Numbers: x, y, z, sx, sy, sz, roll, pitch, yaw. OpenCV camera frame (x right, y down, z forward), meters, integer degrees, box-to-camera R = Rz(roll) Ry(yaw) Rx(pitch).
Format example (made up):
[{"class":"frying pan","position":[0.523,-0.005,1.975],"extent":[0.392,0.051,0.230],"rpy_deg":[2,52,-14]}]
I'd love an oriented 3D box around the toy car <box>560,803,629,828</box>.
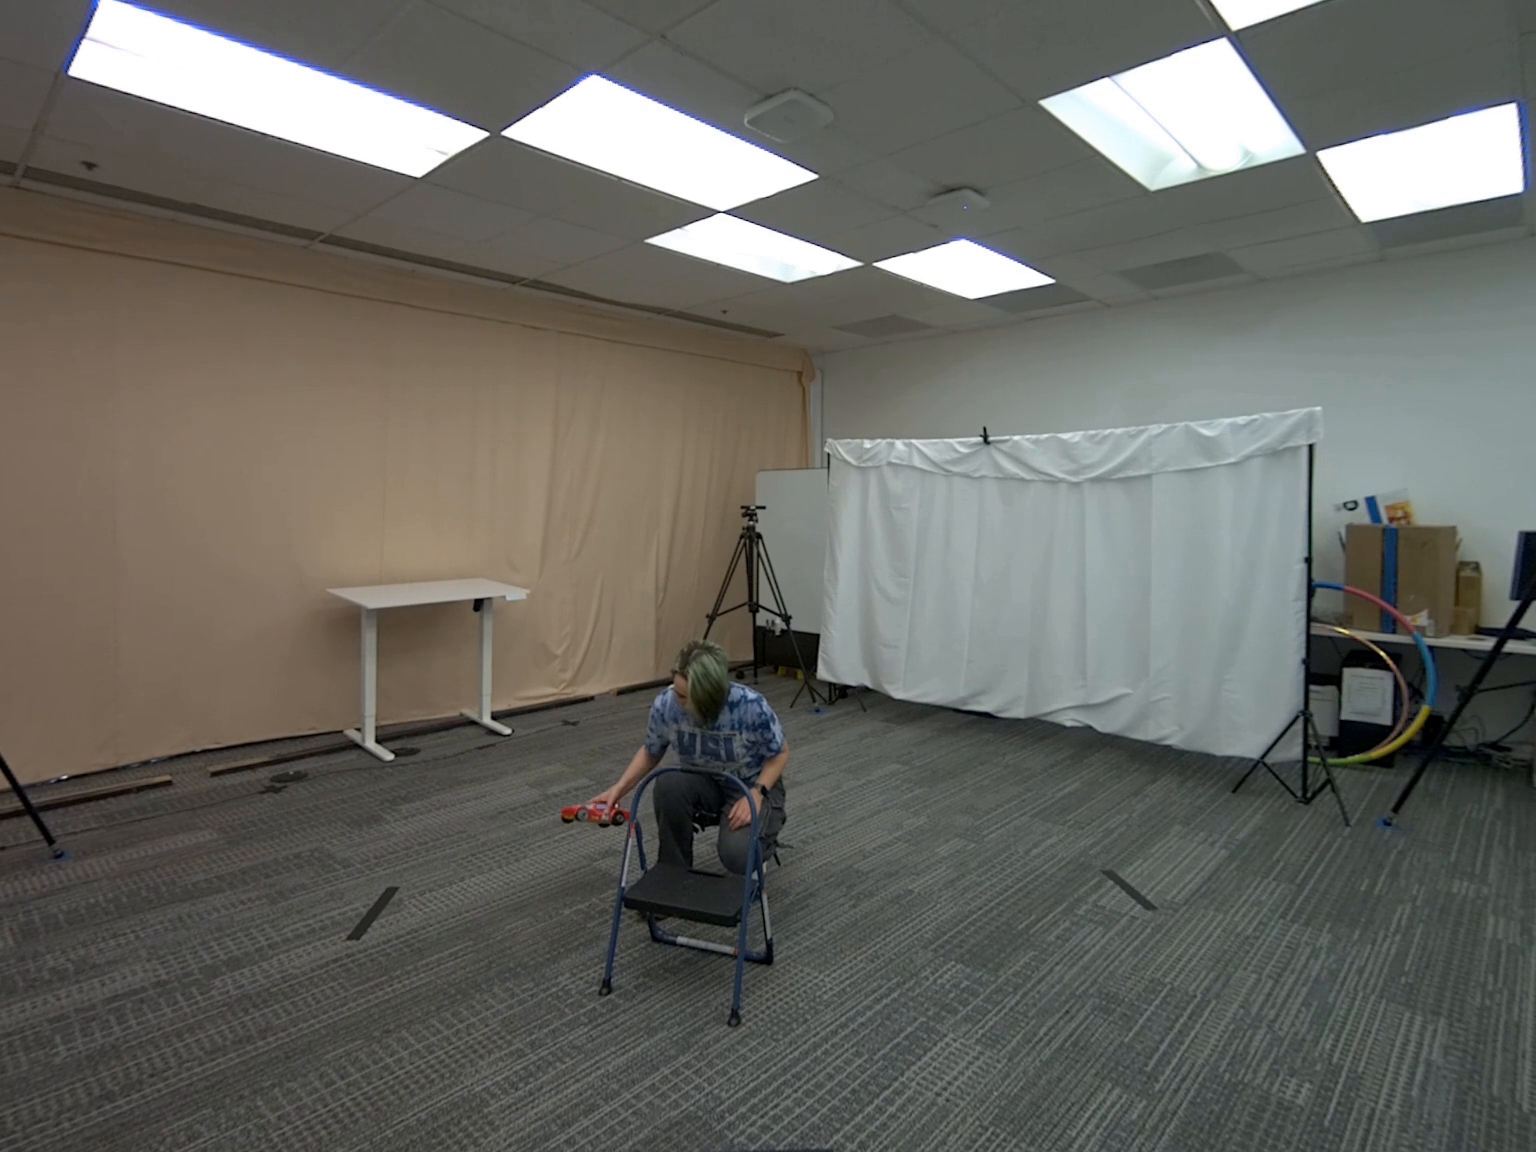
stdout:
[{"class":"toy car","position":[-0.585,0.837,2.904],"extent":[0.246,0.084,0.133],"rpy_deg":[10,-22,-39]}]
